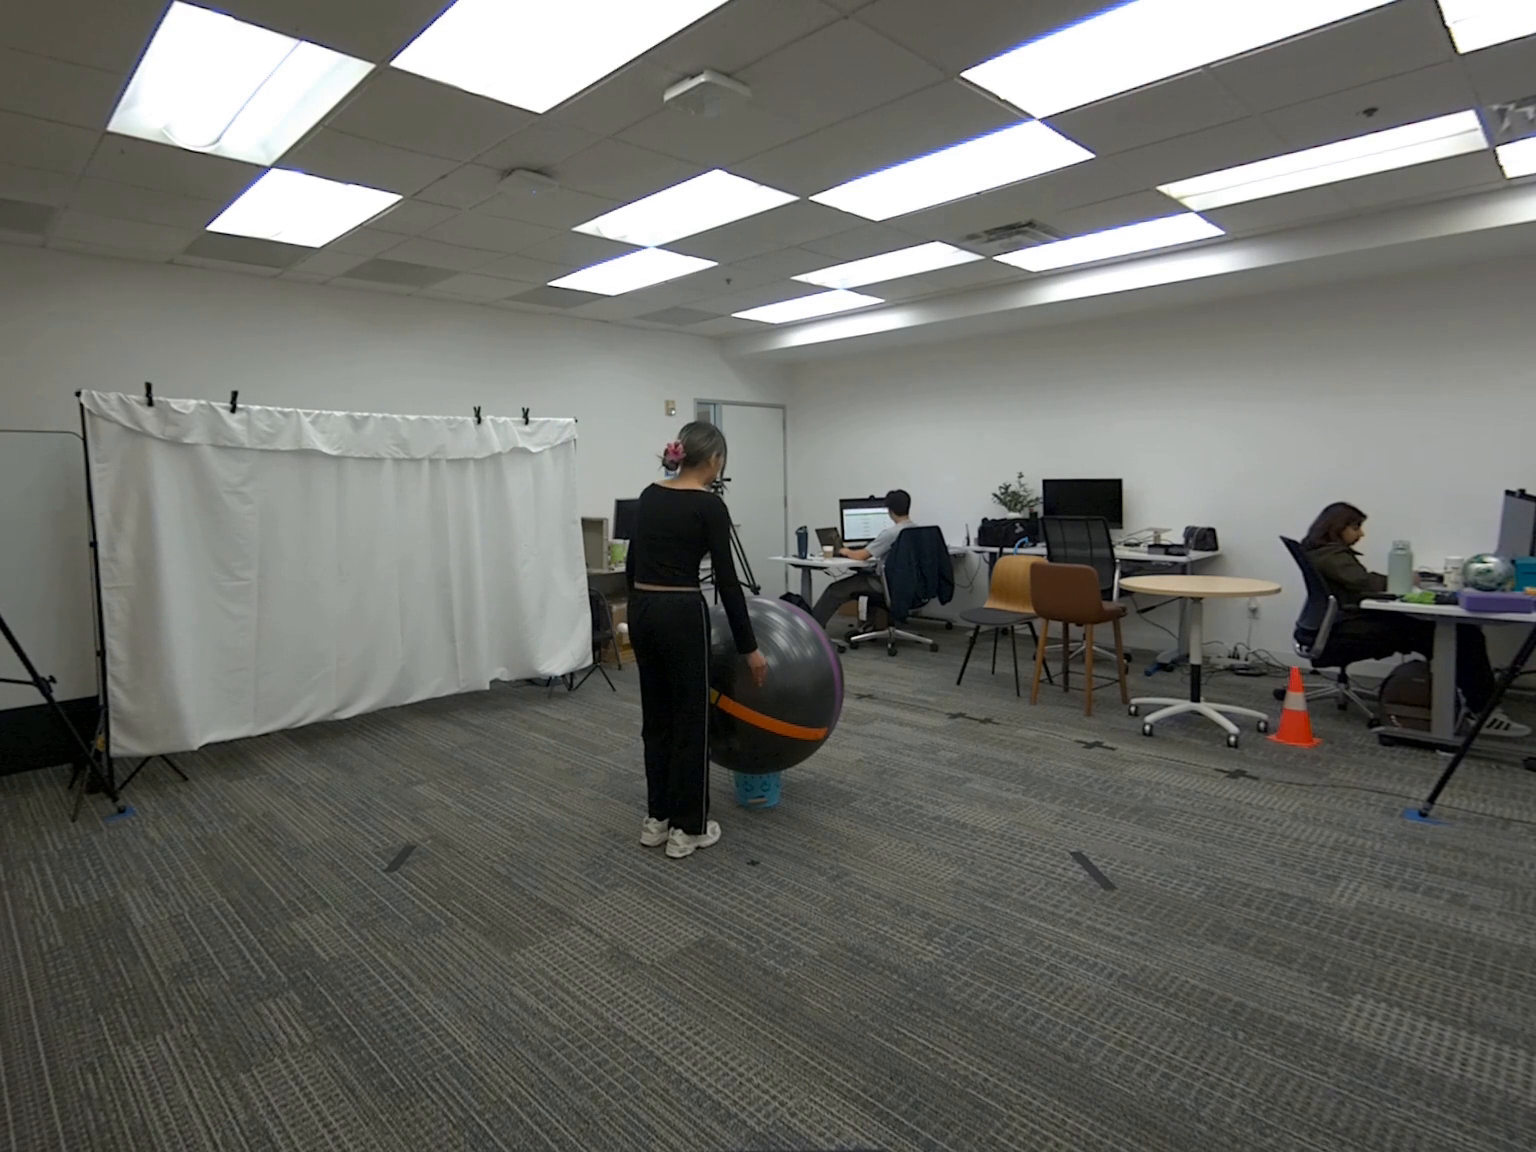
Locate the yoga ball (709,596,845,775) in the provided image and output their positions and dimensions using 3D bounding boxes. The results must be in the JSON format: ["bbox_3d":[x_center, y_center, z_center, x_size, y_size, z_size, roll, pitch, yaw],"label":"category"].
[{"bbox_3d":[-0.051,0.470,3.693,0.757,0.755,0.762,-1,5,-2],"label":"yoga ball"}]
